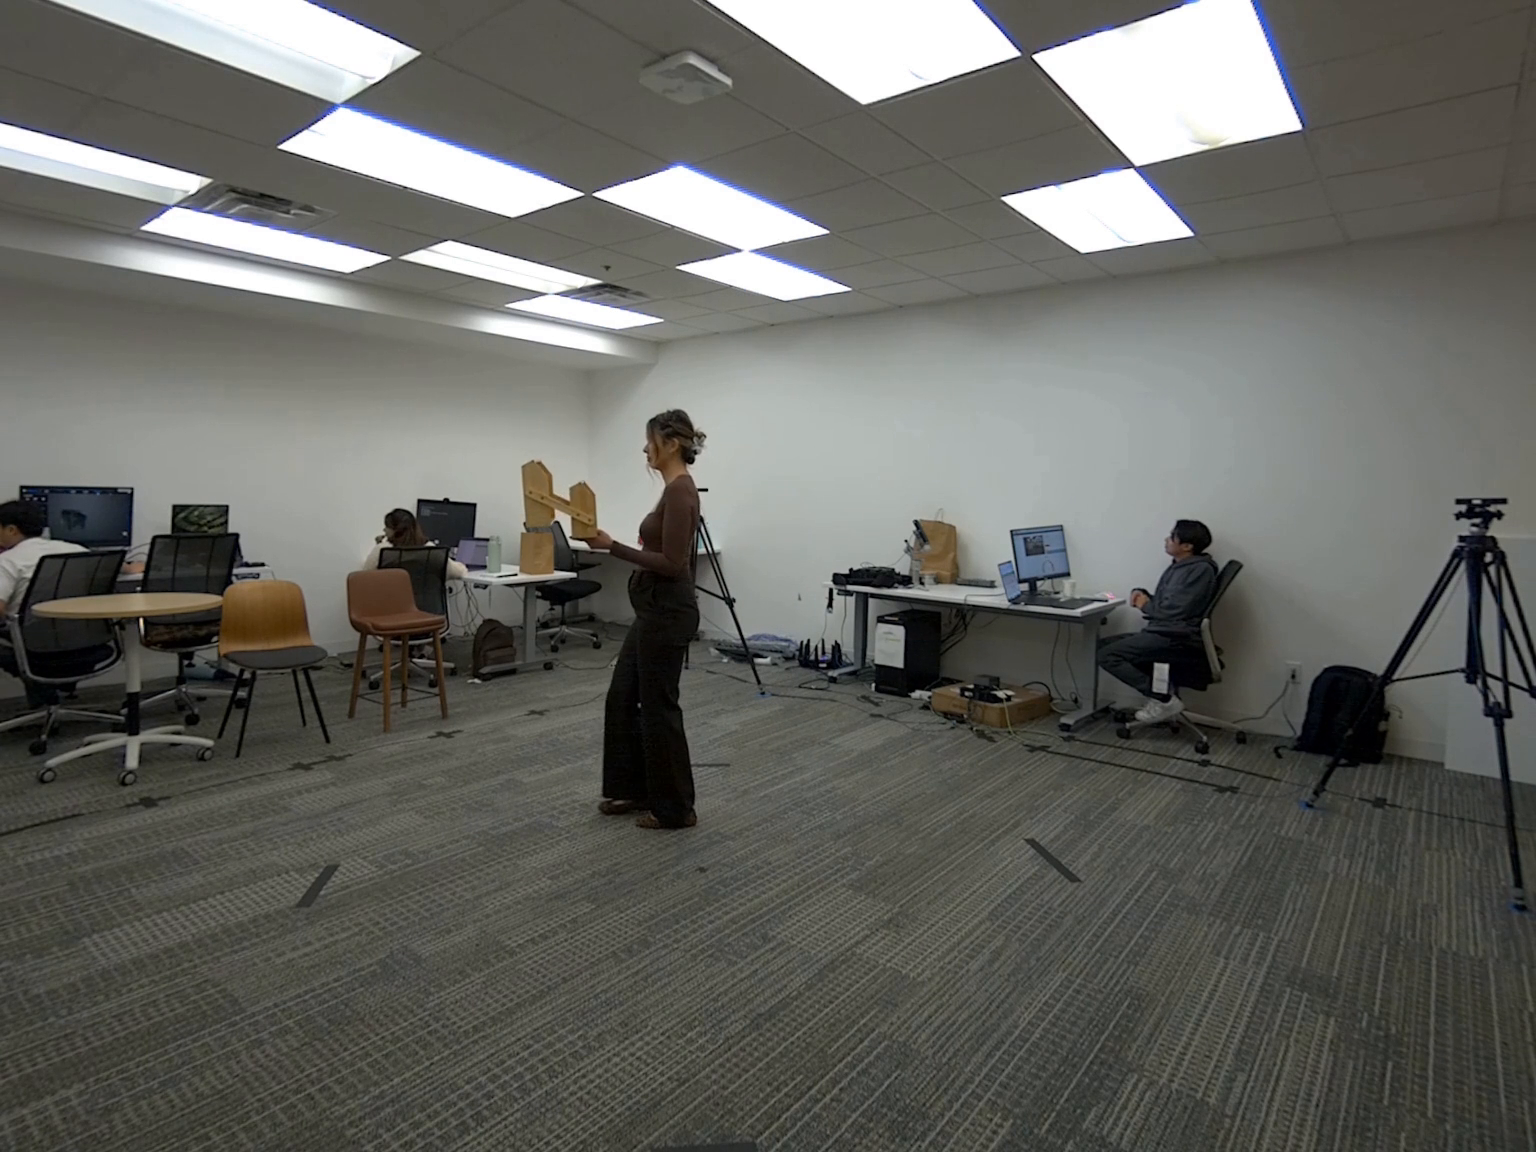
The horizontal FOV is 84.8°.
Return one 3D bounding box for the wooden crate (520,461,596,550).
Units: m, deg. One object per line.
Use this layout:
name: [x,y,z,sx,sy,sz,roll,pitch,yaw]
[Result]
wooden crate: [-0.816,-0.311,3.334,0.271,0.300,0.329,-4,7,-10]
